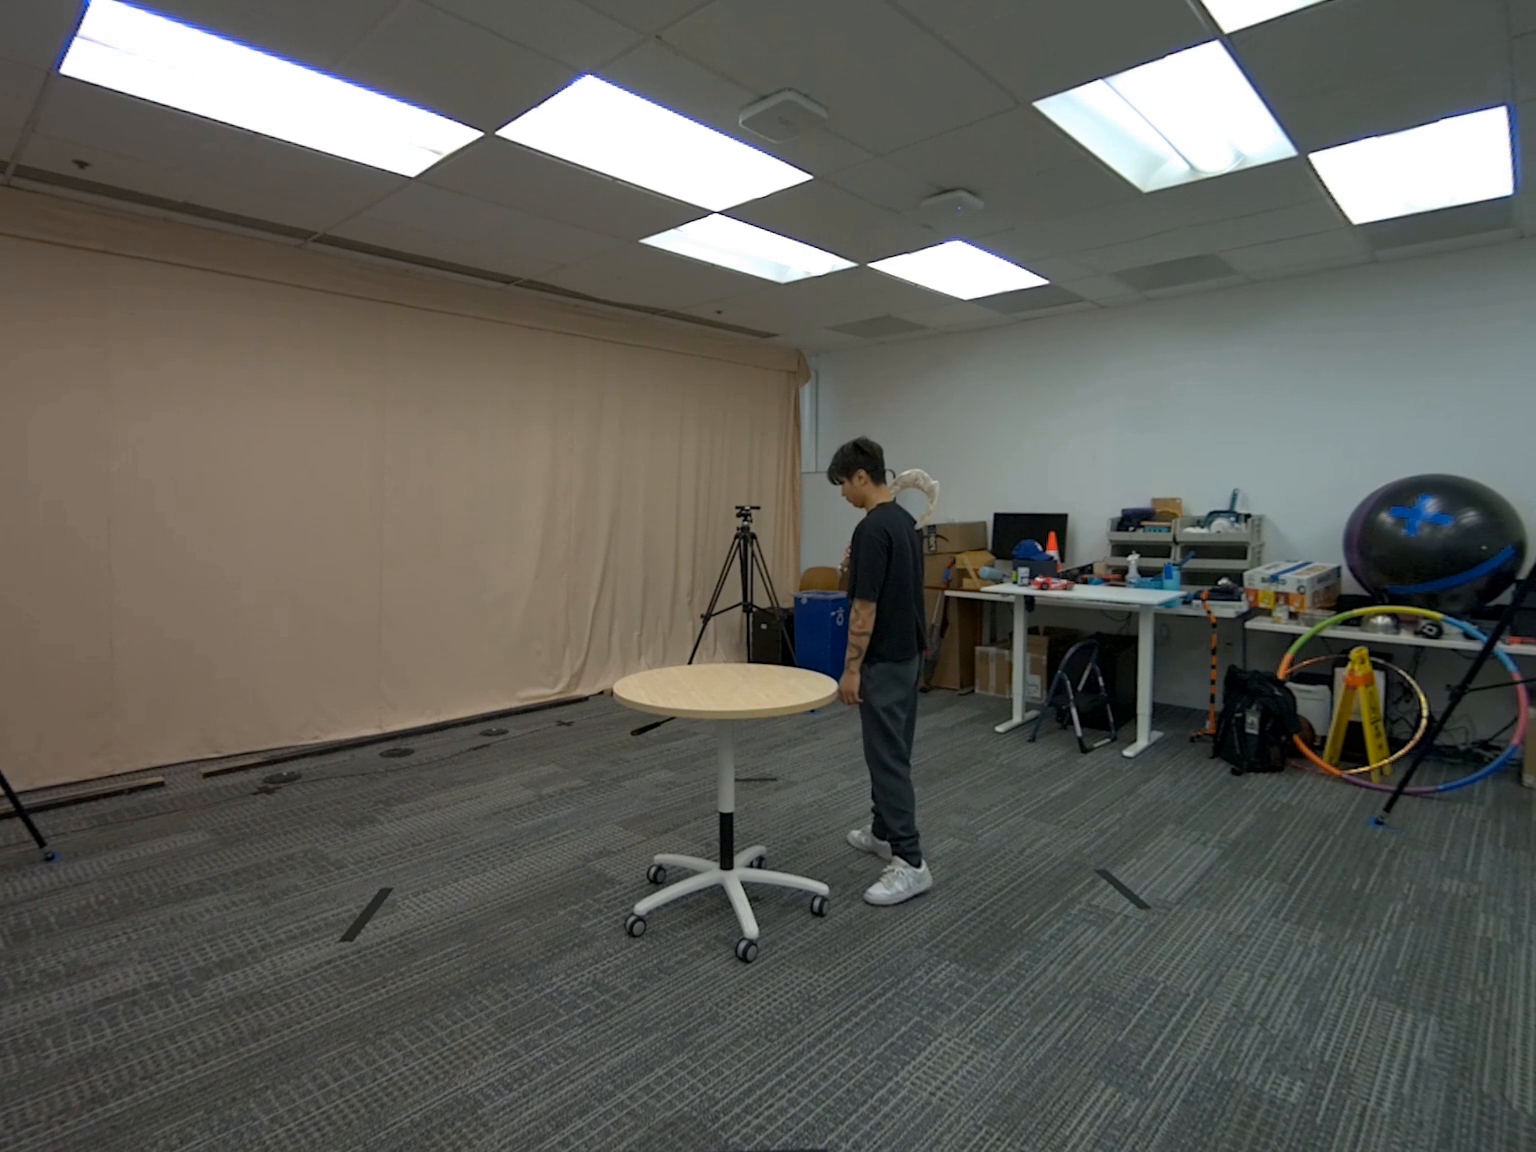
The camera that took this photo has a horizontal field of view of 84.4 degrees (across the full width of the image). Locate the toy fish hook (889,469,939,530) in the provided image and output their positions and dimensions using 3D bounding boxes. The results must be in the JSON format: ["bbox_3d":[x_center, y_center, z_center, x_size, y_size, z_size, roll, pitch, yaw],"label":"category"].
[{"bbox_3d":[0.482,-0.189,3.291,0.046,0.507,0.232,19,22,-52],"label":"toy fish hook"}]
